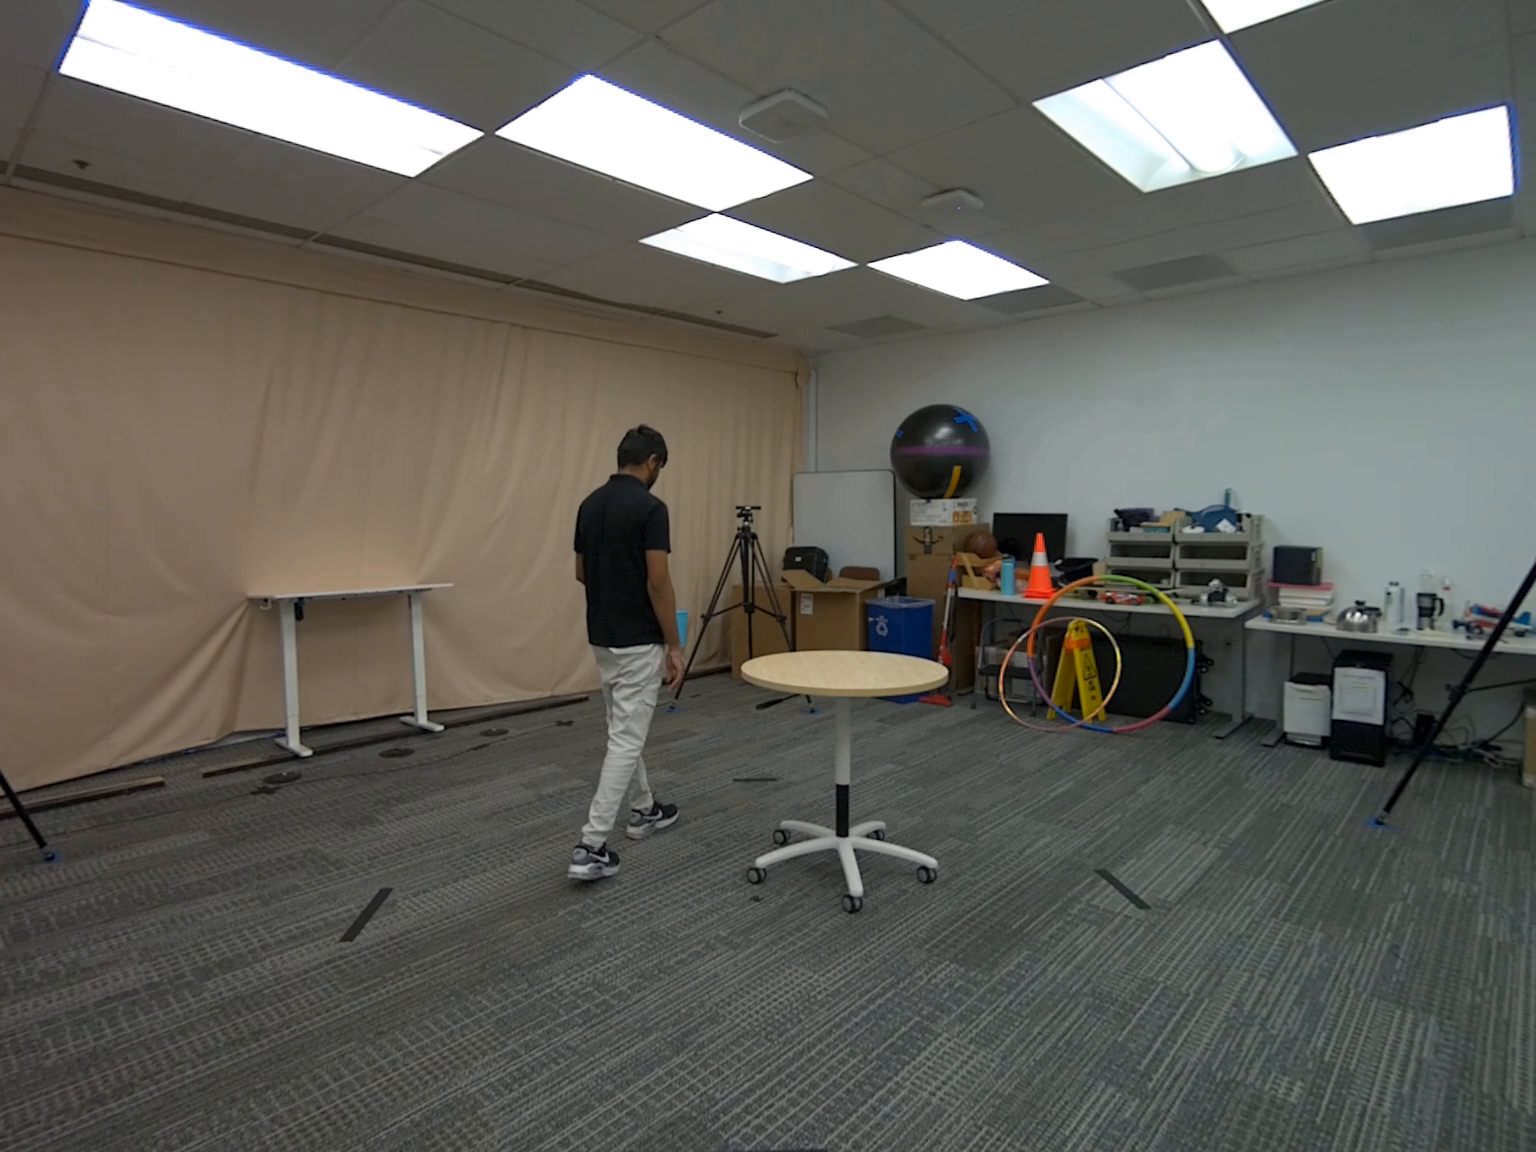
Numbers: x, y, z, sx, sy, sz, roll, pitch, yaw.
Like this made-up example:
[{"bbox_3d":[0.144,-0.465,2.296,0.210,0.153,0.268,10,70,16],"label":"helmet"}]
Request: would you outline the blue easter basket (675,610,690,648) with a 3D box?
[{"bbox_3d":[-0.463,0.235,3.757,0.243,0.156,0.244,-3,0,-2],"label":"blue easter basket"}]
